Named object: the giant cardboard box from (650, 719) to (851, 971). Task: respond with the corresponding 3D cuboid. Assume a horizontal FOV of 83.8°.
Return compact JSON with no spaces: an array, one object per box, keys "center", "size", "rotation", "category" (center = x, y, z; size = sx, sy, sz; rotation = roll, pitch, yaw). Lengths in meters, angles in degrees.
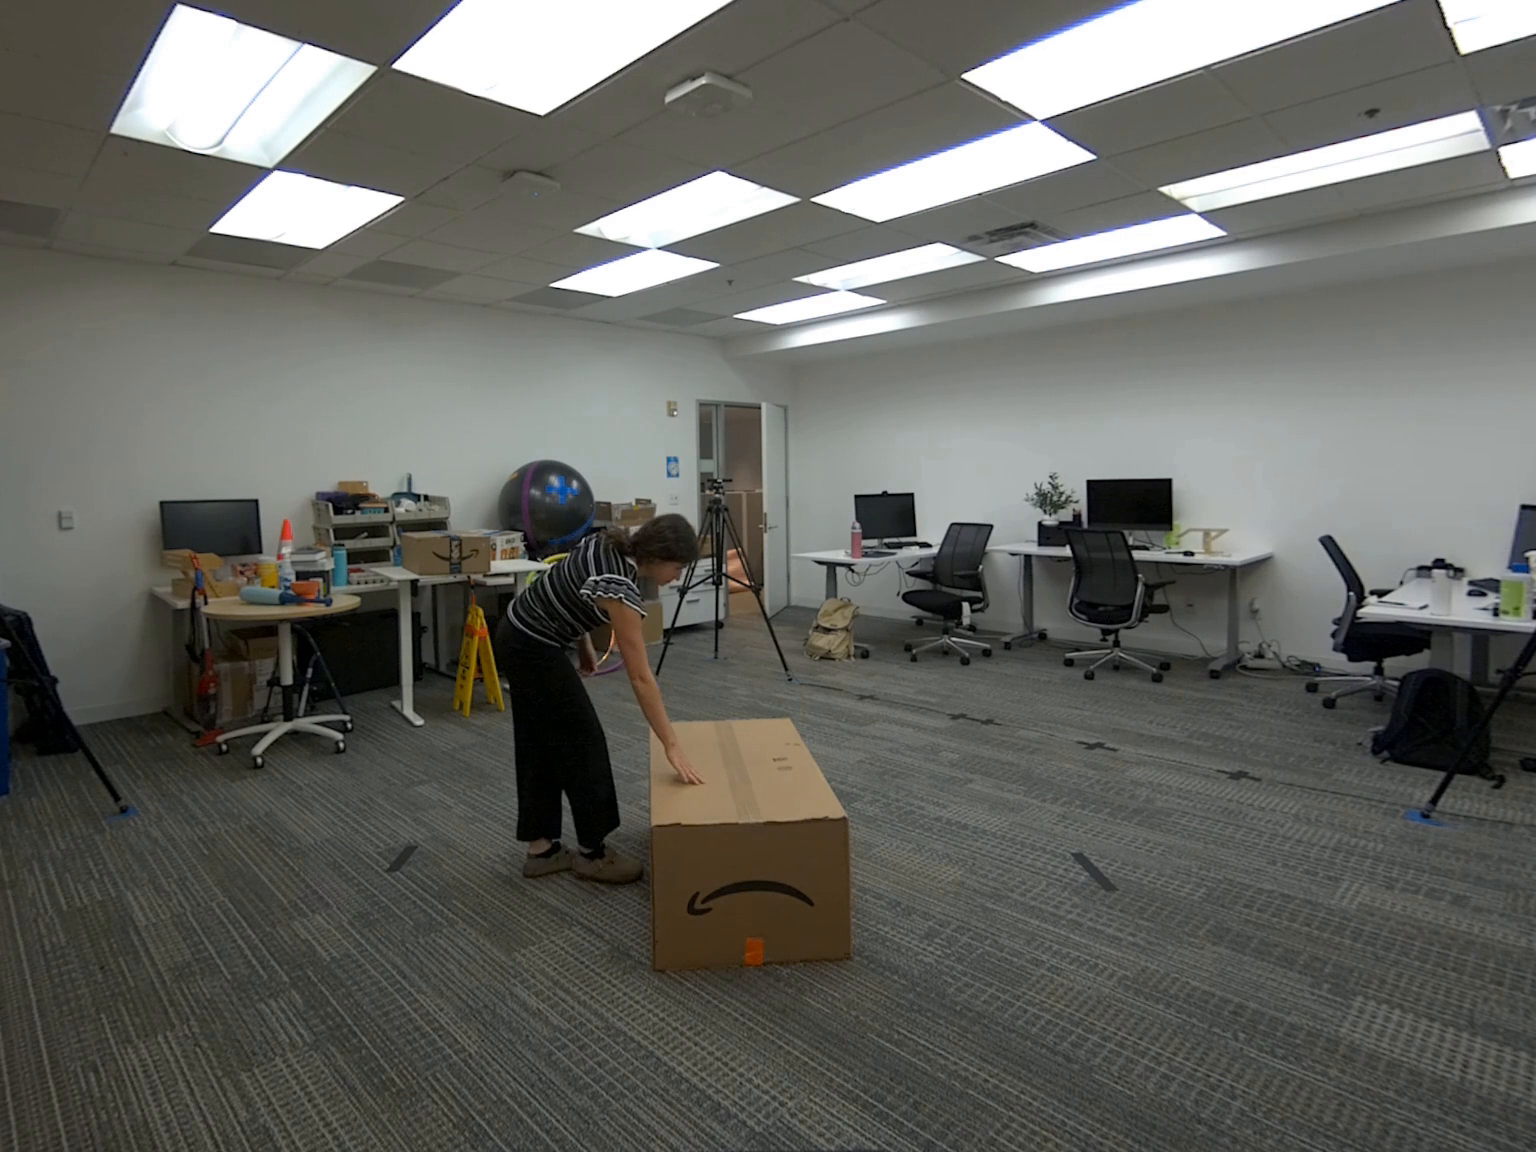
[{"center":[-0.114,0.854,2.947],"size":[0.574,0.424,1.037],"rotation":[-2,6,-7],"category":"giant cardboard box"}]
